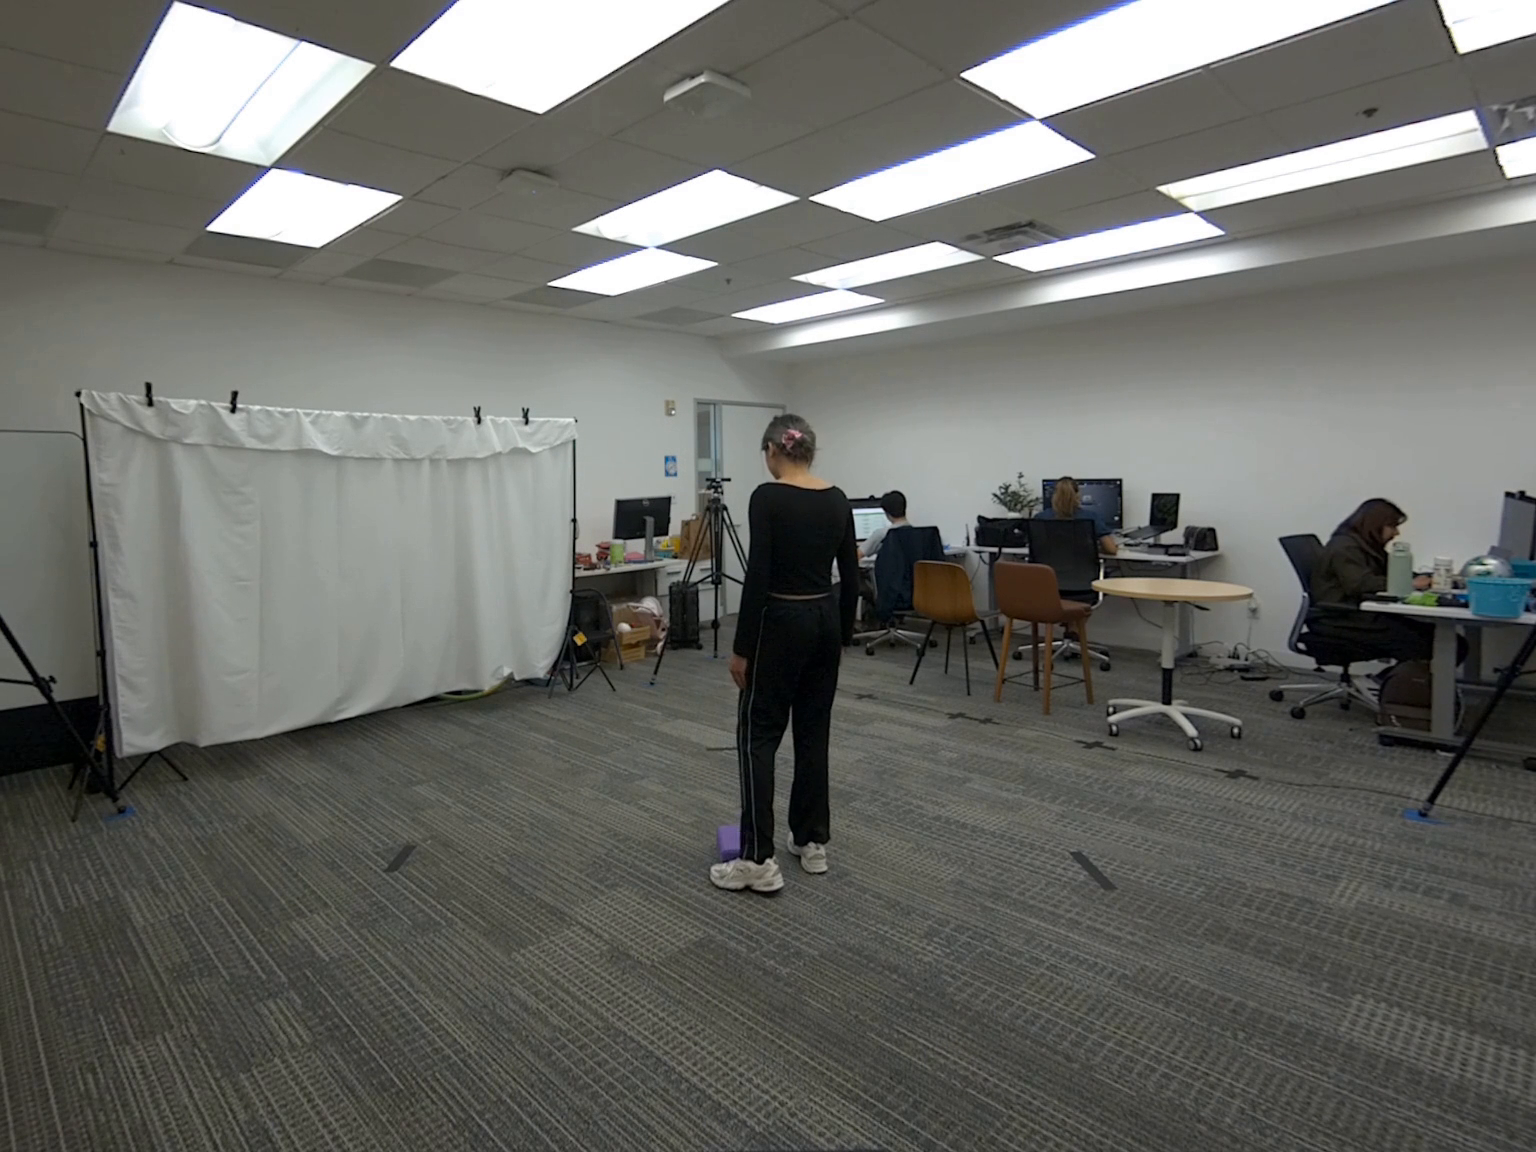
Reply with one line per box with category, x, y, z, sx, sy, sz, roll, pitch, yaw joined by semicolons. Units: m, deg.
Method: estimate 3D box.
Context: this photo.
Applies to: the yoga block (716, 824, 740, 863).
yoga block;-0.096;1.002;3.156;0.148;0.076;0.232;-1;7;-8
